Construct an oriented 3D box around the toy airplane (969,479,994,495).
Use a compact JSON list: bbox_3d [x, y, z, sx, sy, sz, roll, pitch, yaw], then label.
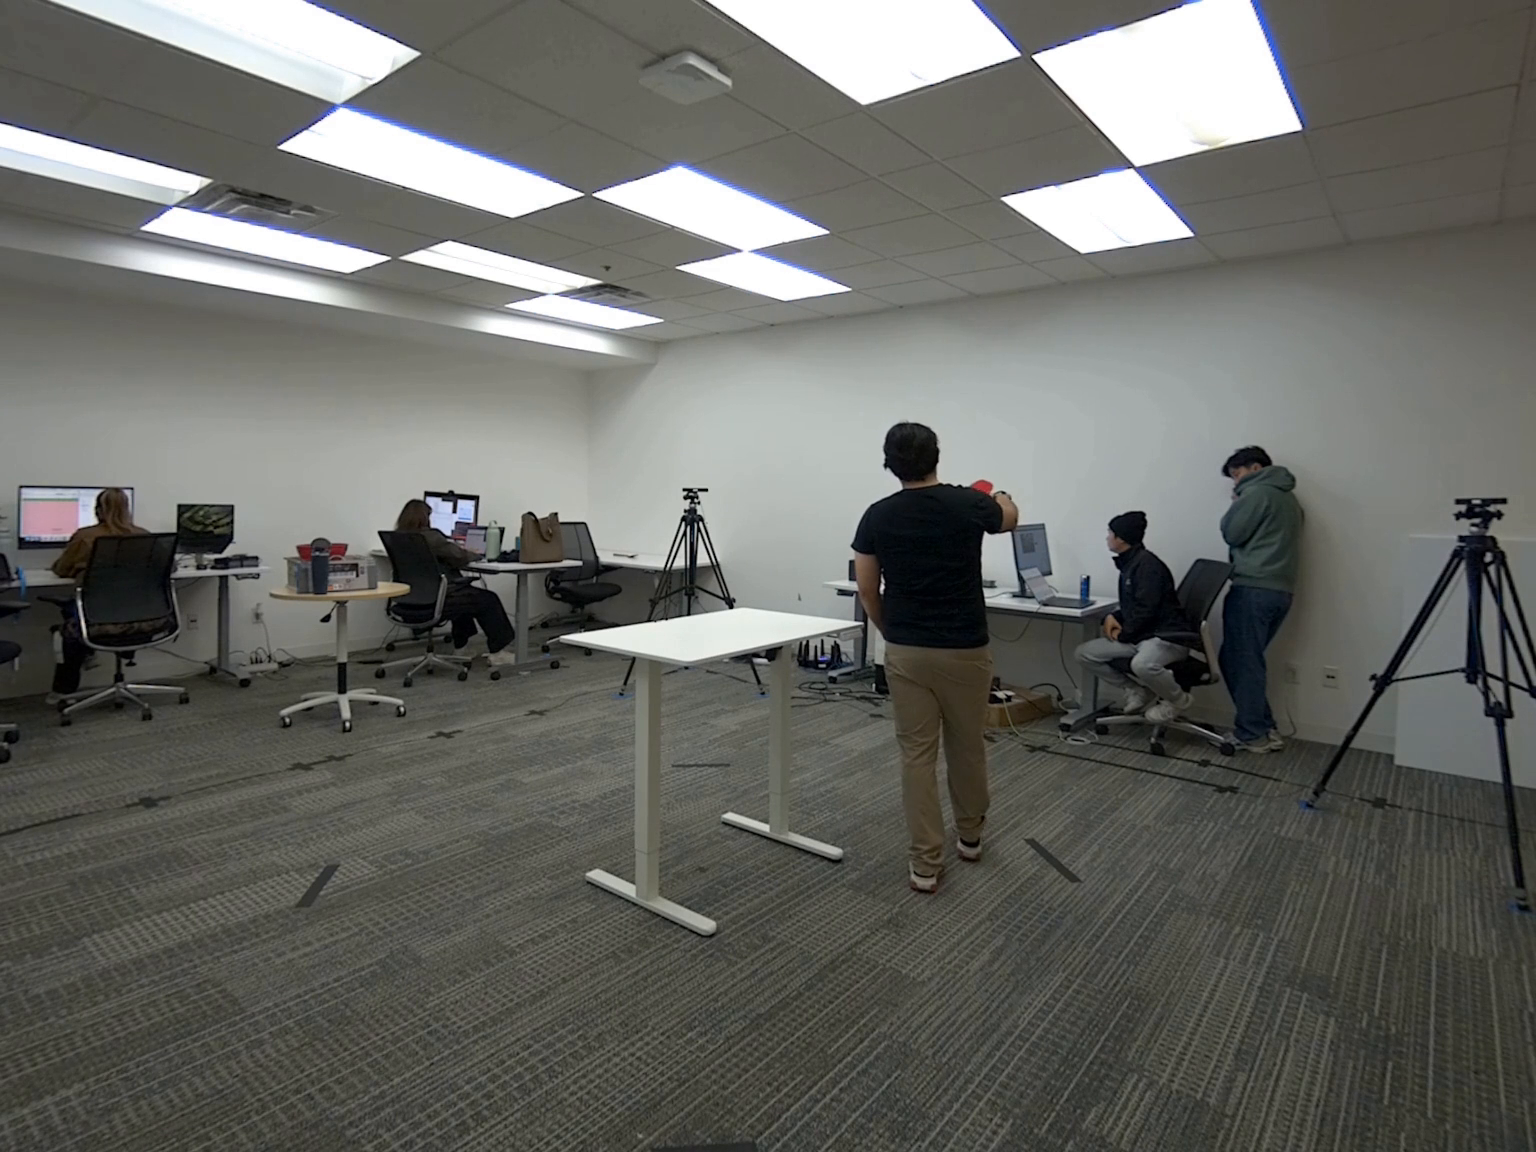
[{"bbox_3d":[0.897,-0.292,3.587,0.264,0.151,0.254,-9,34,24],"label":"toy airplane"}]
